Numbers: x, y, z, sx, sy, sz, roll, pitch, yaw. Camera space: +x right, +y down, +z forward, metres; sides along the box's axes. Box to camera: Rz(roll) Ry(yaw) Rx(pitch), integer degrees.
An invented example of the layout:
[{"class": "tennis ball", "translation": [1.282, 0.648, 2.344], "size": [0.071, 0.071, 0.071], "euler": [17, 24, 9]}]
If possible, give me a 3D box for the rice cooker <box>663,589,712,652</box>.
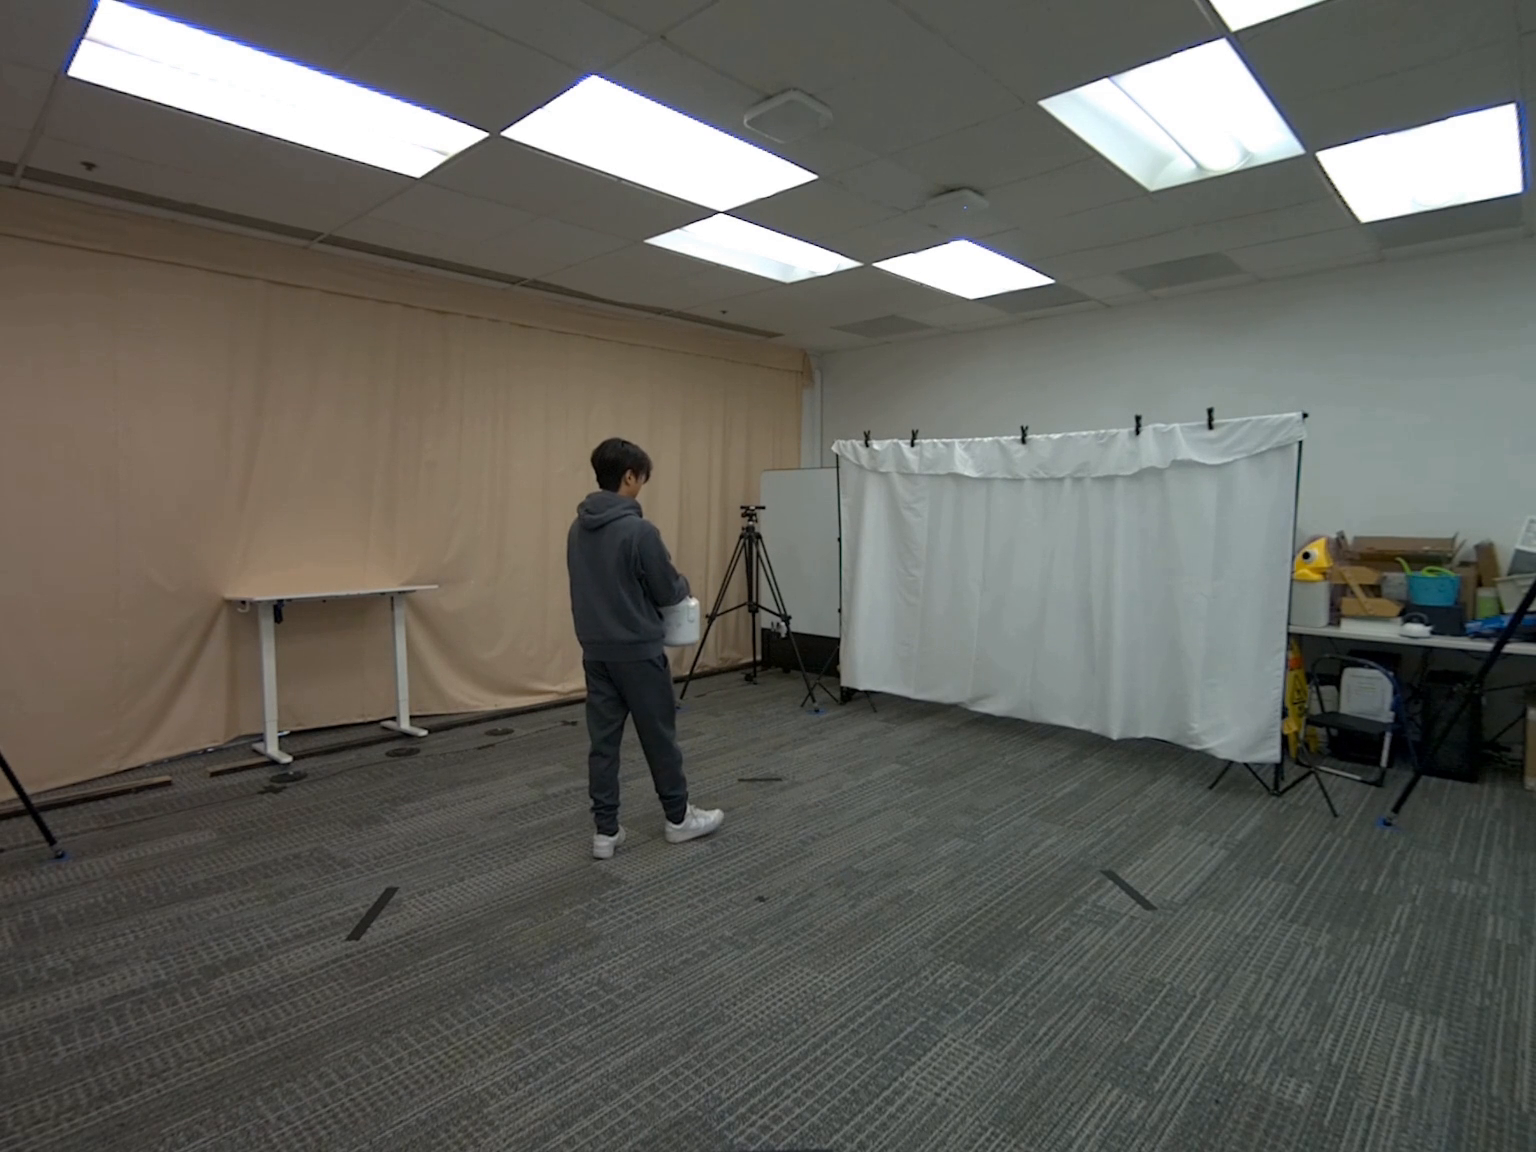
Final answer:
[{"class": "rice cooker", "translation": [-0.403, 0.183, 3.679], "size": [0.211, 0.232, 0.228], "euler": [-3, 6, -43]}]
